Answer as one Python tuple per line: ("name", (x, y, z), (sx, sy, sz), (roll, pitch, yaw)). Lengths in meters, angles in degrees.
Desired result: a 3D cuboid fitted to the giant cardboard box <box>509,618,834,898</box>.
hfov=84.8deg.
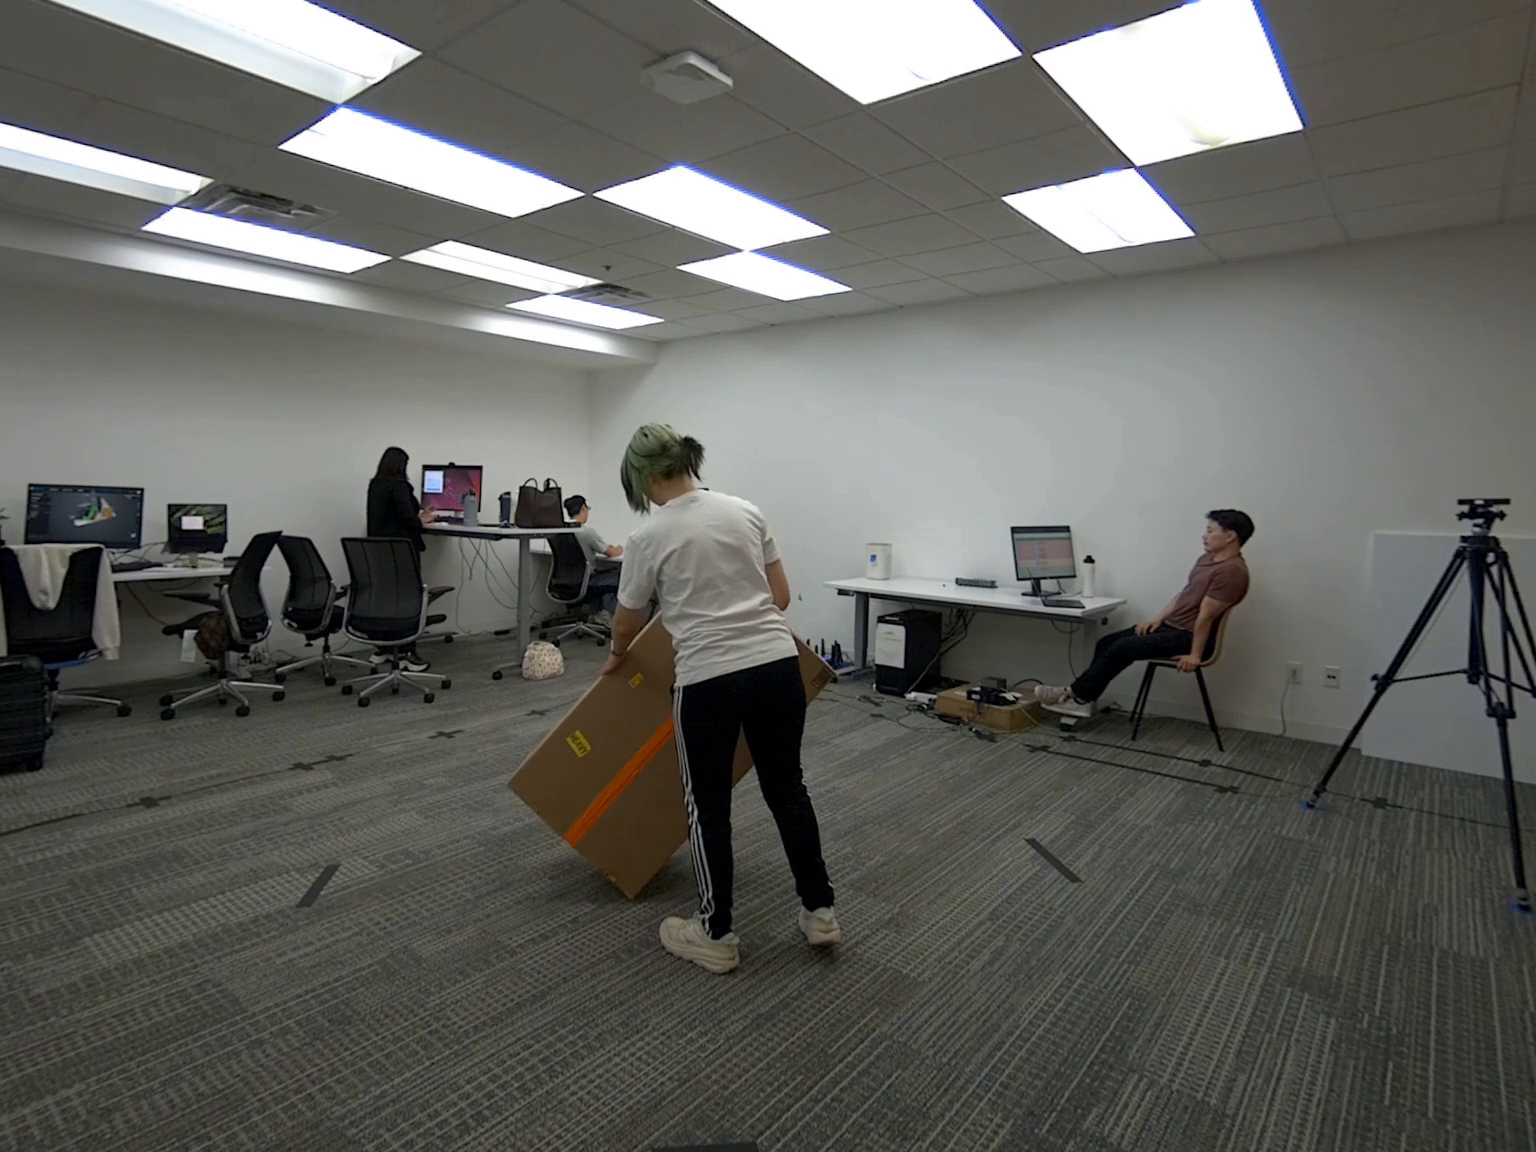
("giant cardboard box", (-0.351, 0.508, 3.051), (0.578, 1.026, 0.426), (42, -2, -1))
